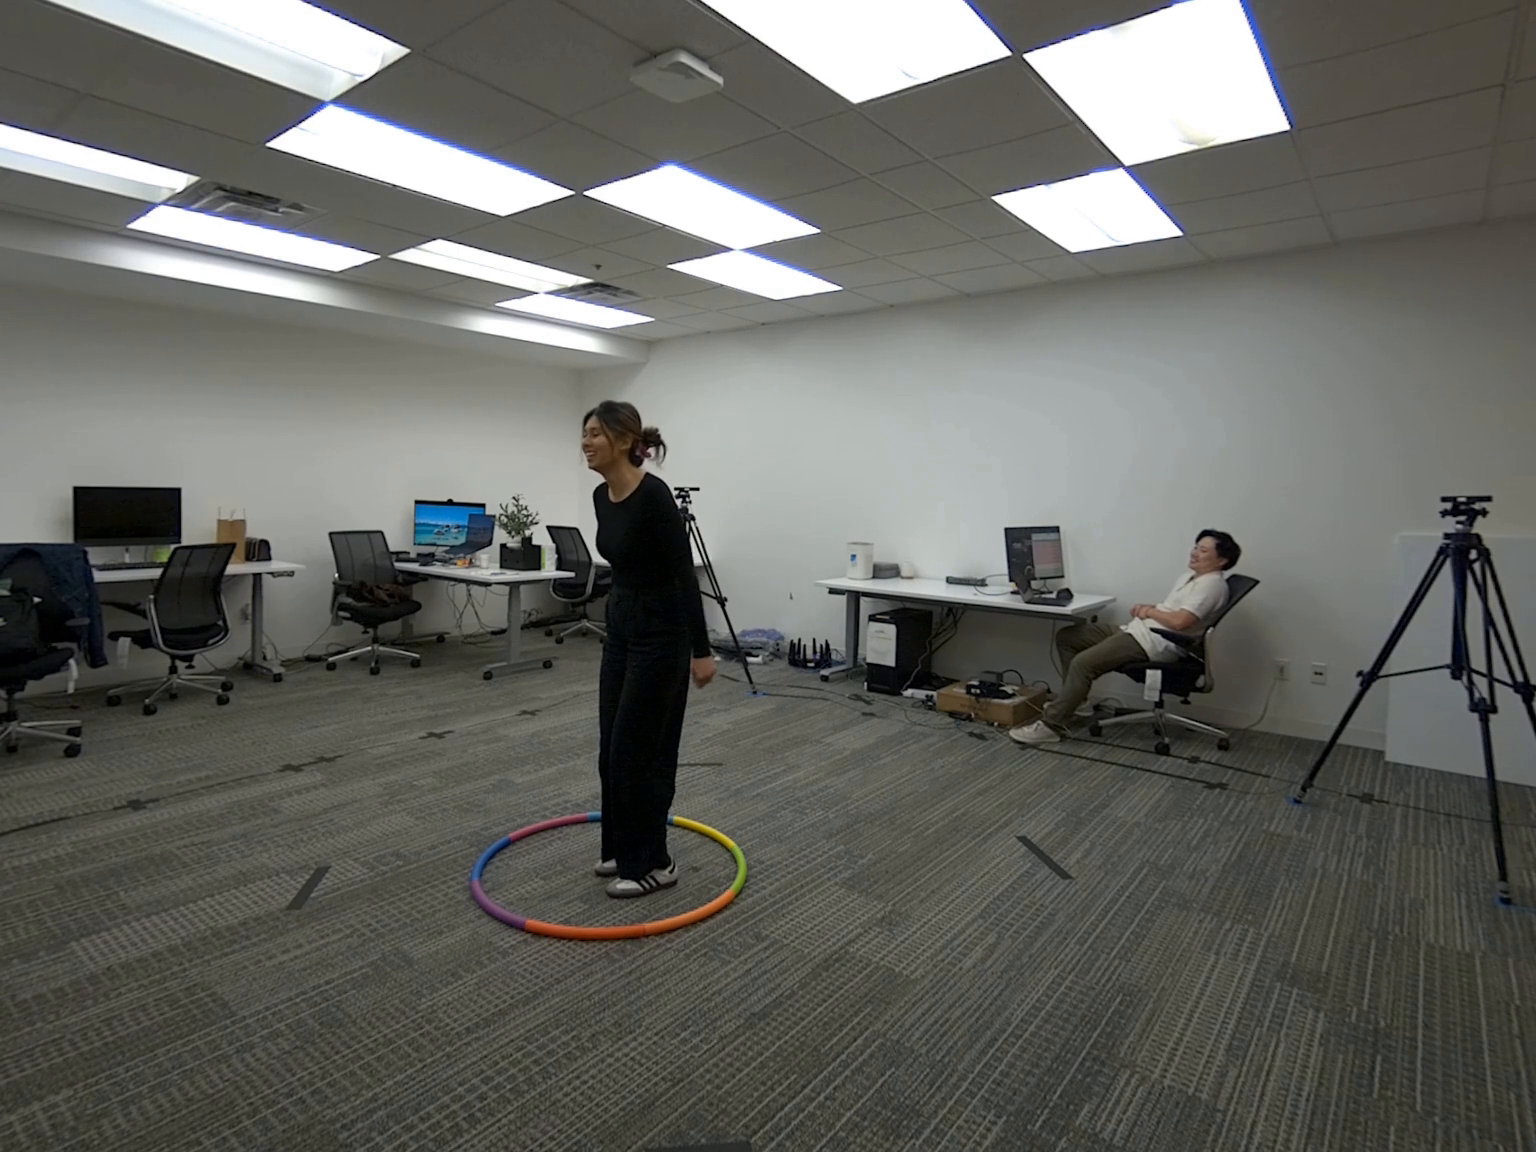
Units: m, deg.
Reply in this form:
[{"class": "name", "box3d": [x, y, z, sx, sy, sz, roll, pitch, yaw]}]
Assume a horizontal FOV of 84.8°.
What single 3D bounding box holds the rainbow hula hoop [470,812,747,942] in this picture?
[{"class": "rainbow hula hoop", "box3d": [-0.573, 1.036, 3.081, 0.978, 0.035, 0.984, 0, 6, -2]}]
